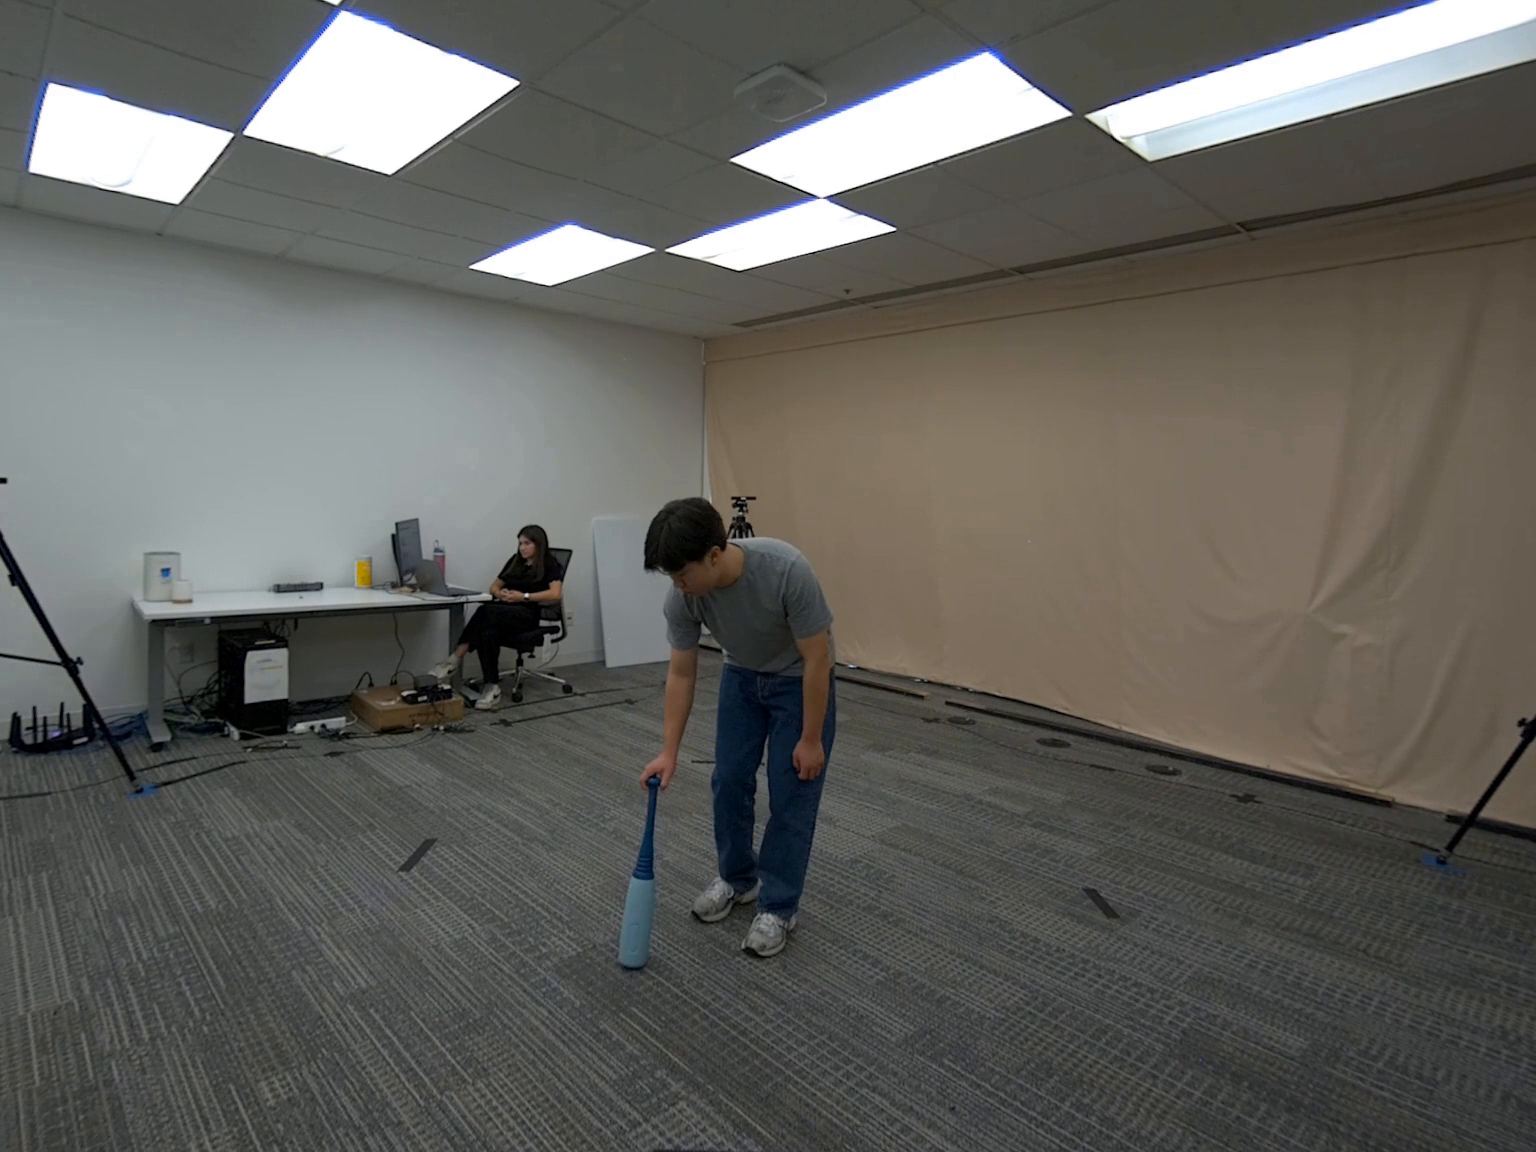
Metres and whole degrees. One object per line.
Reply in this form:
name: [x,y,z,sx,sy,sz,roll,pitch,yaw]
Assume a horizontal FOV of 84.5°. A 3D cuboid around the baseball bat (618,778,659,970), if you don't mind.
baseball bat: [-0.374,0.892,2.516,0.089,0.545,0.089,7,-6,-1]
